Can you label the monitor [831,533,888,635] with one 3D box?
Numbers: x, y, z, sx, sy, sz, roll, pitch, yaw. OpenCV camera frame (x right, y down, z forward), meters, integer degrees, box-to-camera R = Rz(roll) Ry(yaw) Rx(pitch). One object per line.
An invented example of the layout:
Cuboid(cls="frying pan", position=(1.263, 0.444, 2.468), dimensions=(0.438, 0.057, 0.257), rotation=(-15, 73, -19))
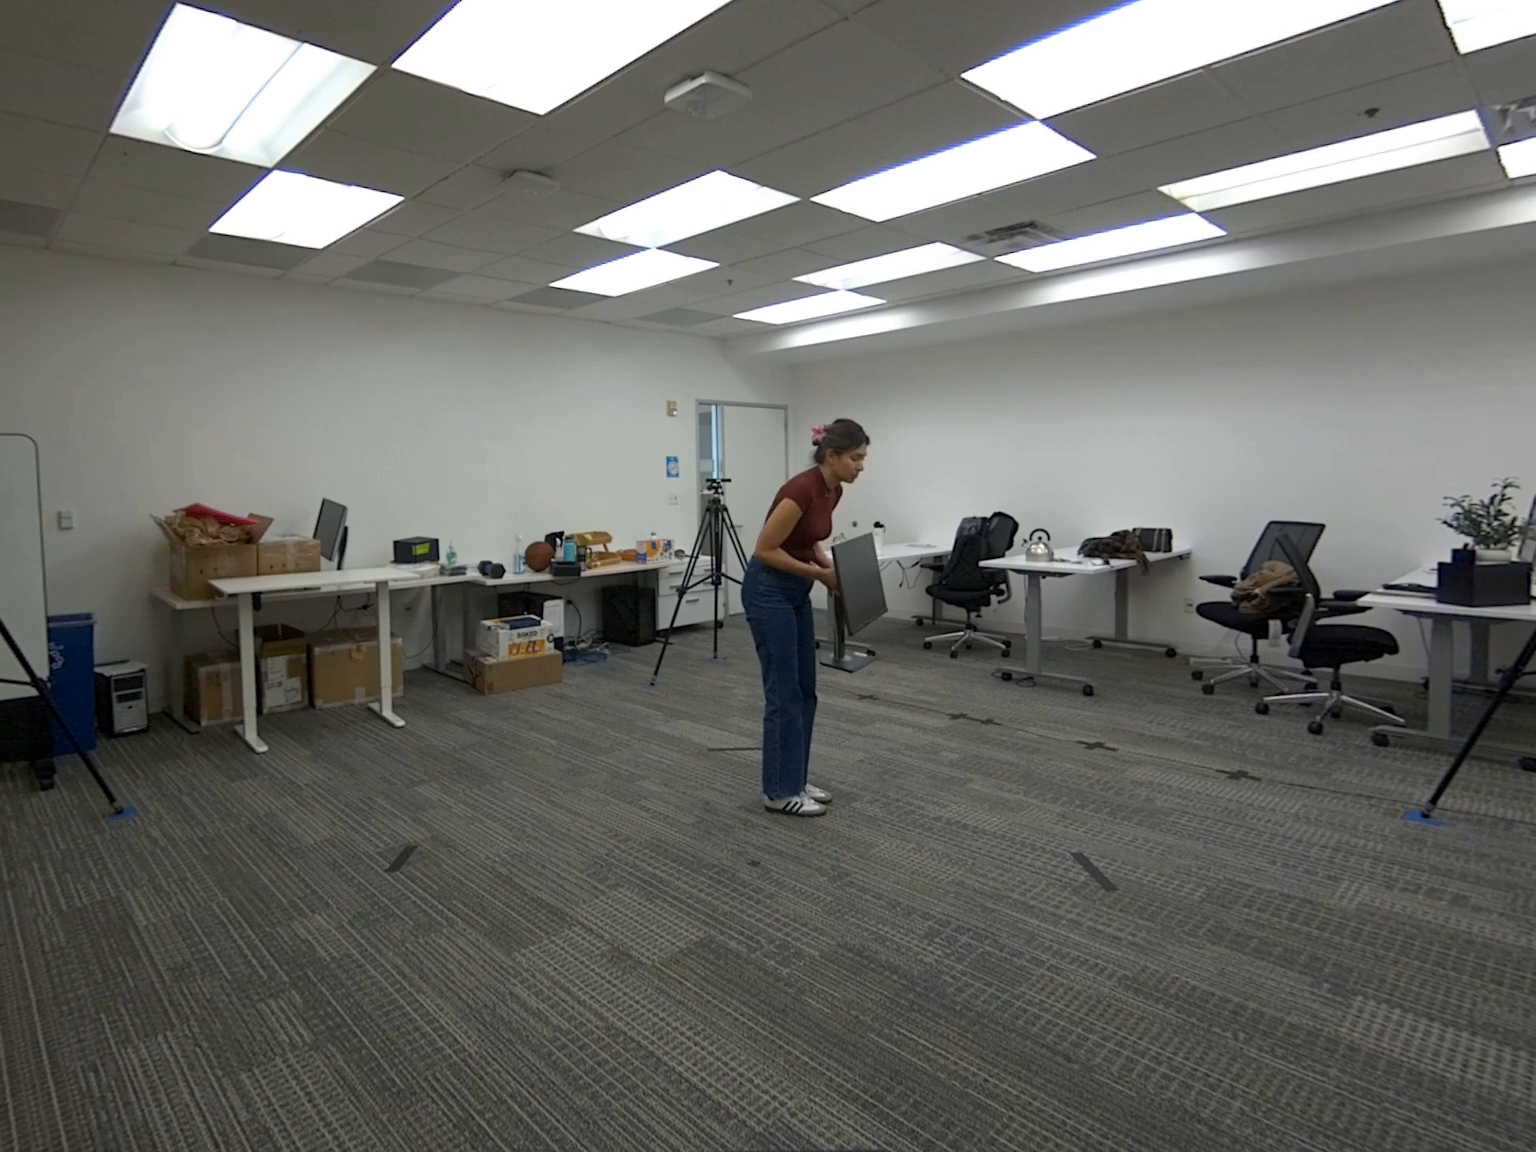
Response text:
Cuboid(cls="monitor", position=(0.344, 0.112, 3.514), dimensions=(0.191, 0.519, 0.531), rotation=(6, 9, 21))
